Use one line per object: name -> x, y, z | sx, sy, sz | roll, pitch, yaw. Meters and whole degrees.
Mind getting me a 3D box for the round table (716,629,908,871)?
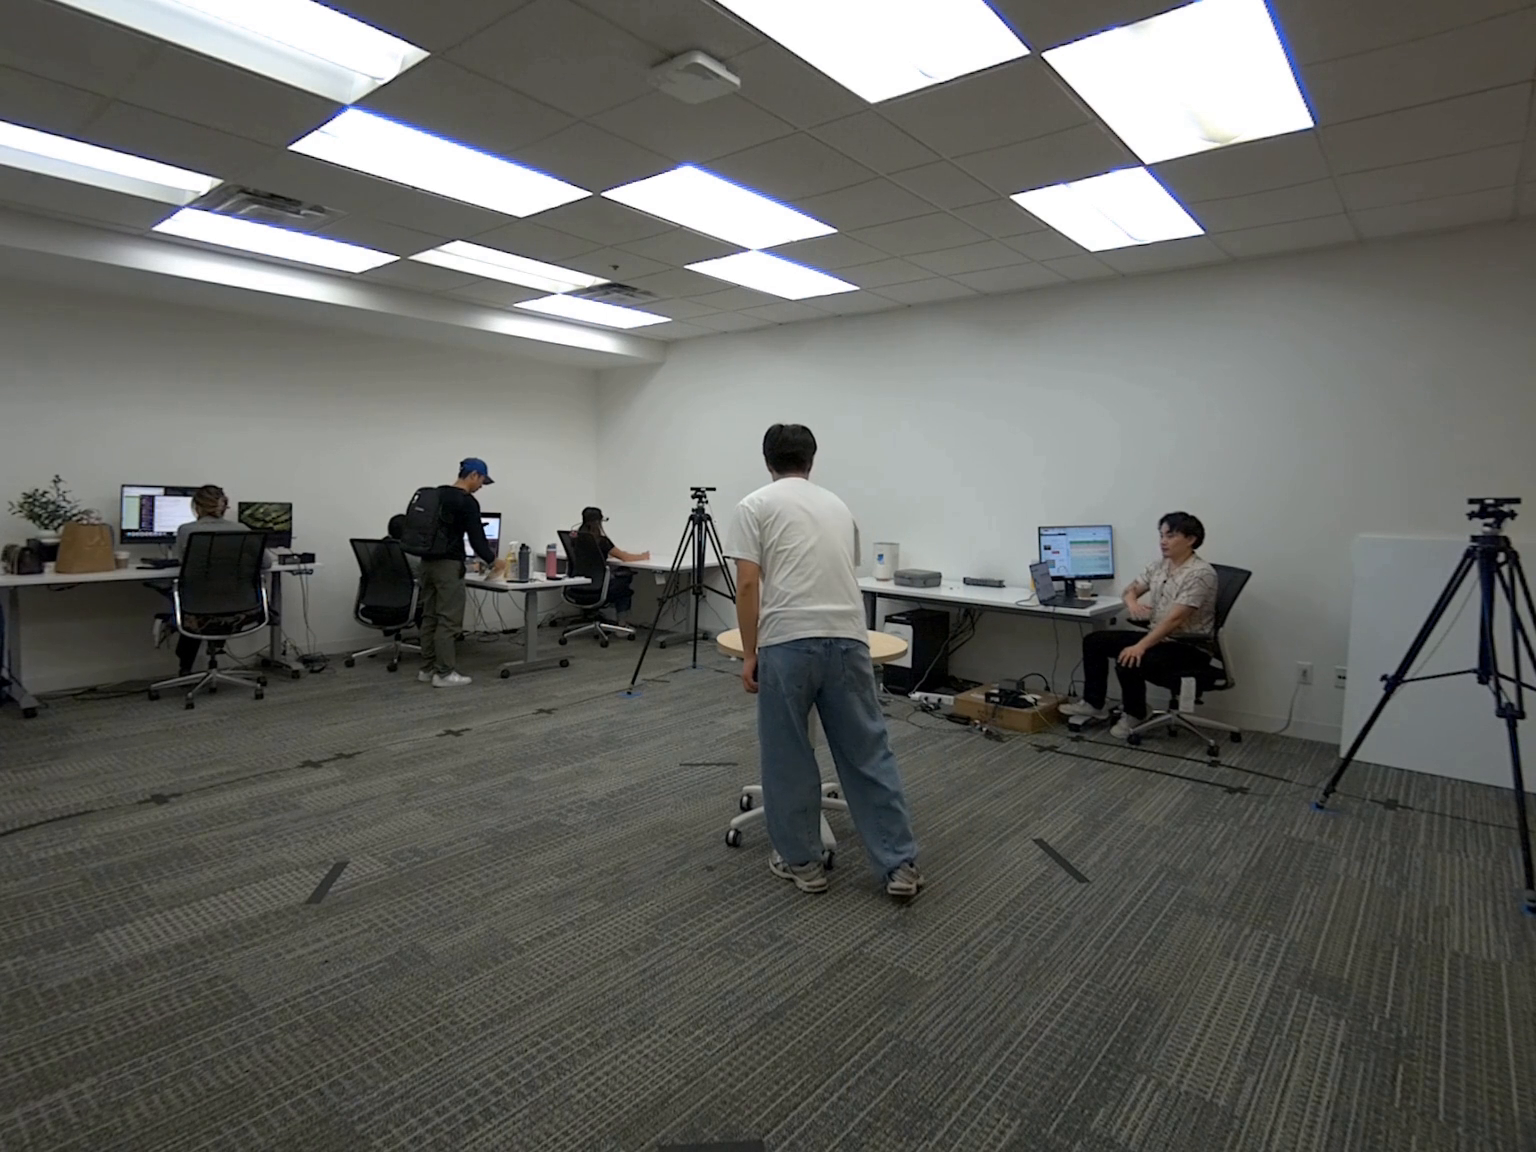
round table -> 0.147, 0.645, 3.466 | 0.763, 0.791, 0.768 | 1, 4, -2
